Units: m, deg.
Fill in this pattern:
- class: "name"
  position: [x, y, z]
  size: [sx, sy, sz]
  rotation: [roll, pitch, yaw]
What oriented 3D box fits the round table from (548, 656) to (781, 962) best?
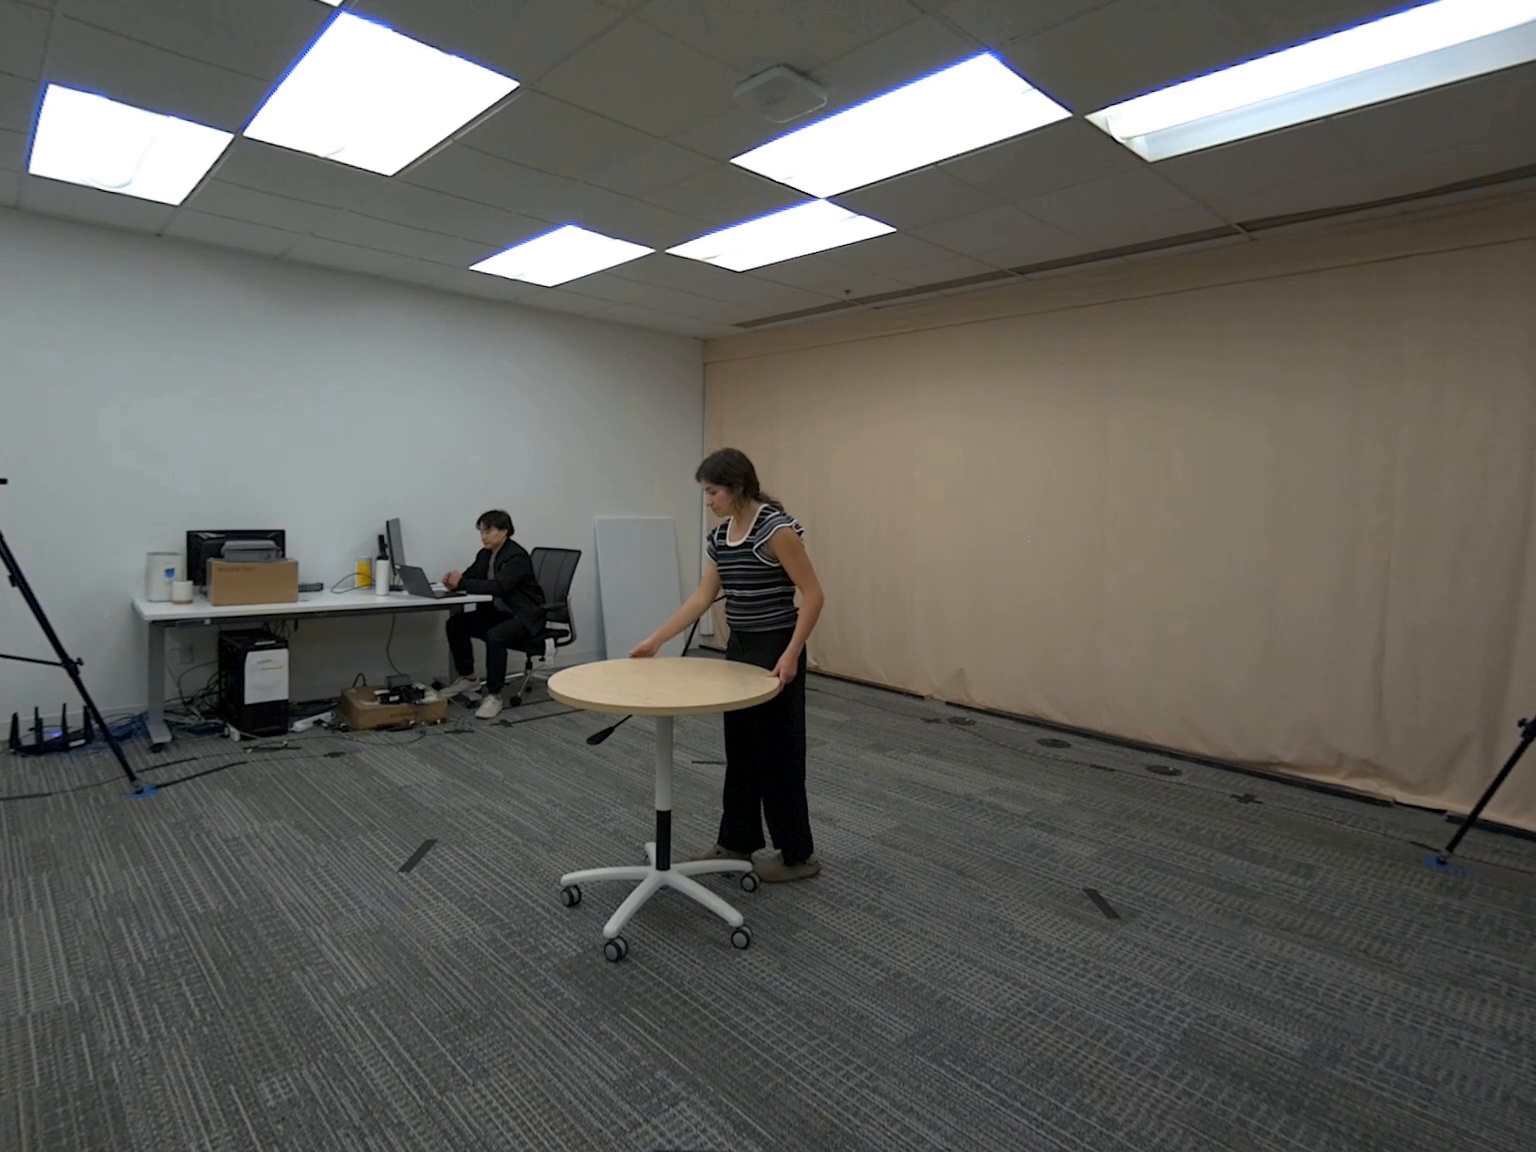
- class: "round table"
  position: [-0.350, 0.732, 2.831]
  size: [0.784, 0.784, 0.788]
  rotation: [1, 4, -1]
